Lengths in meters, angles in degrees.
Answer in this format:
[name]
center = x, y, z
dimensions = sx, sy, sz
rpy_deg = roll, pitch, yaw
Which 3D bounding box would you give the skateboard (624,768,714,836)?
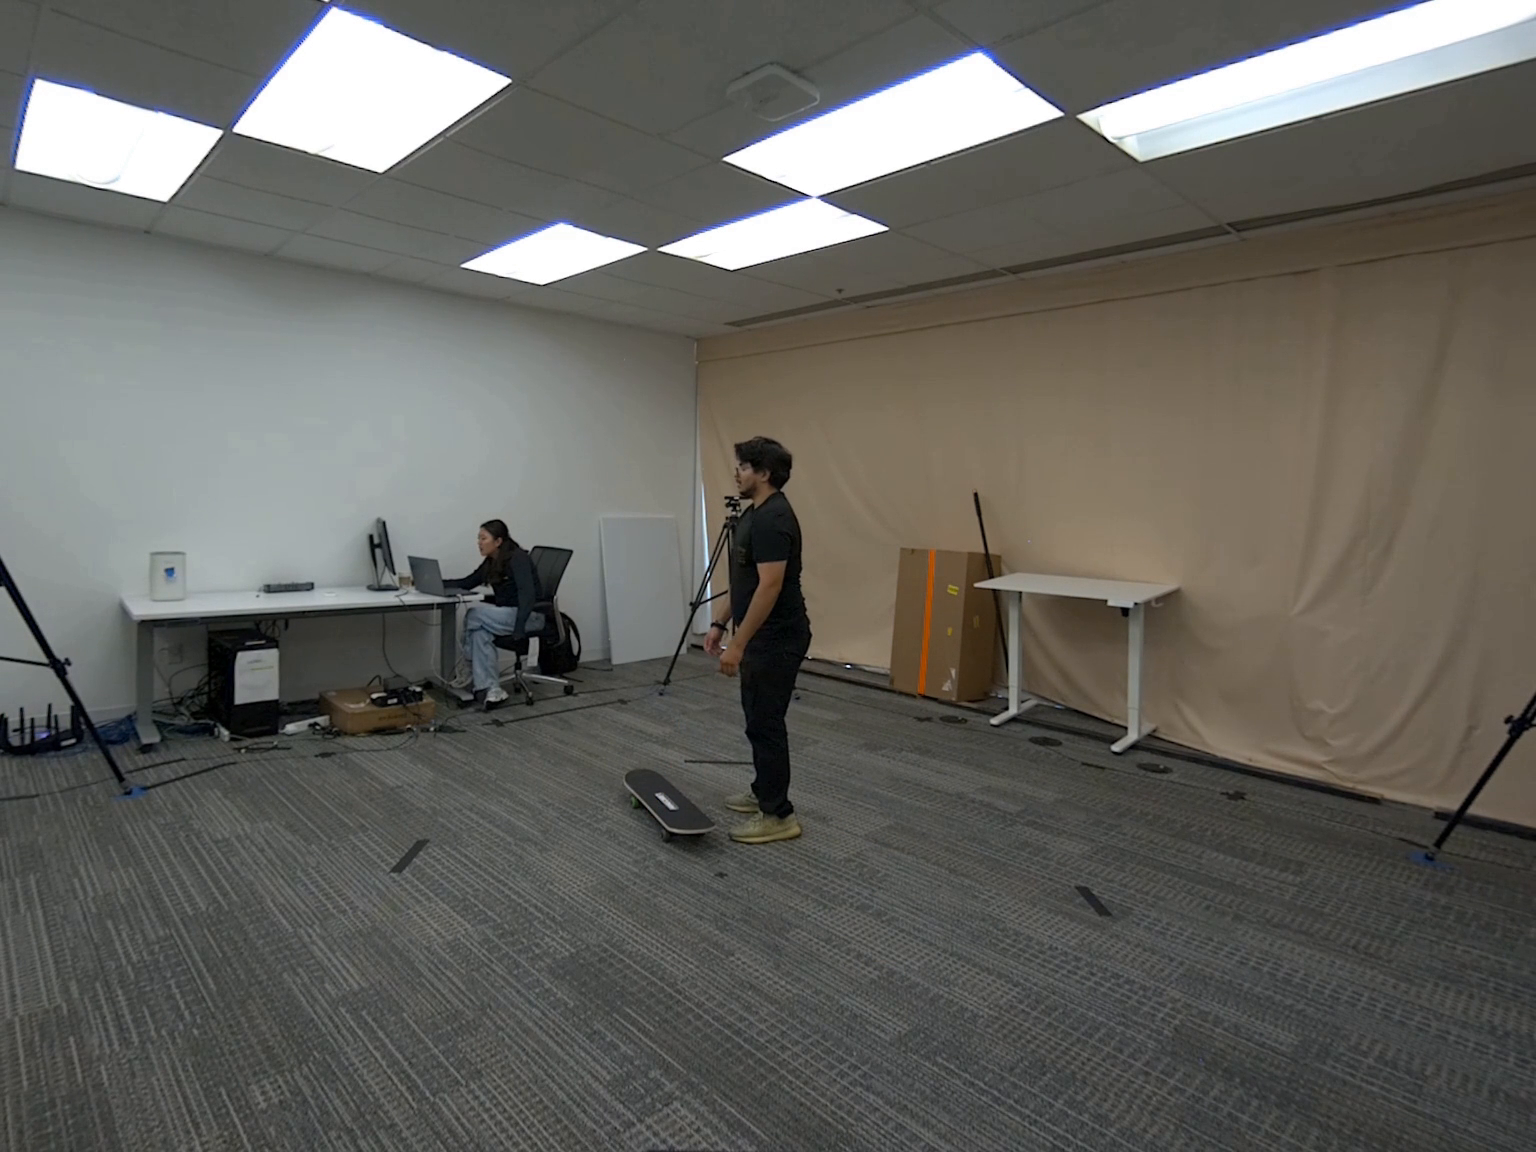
[skateboard]
center = -0.443, 0.992, 3.607
dimensions = 0.190, 0.110, 0.802
rpy_deg = -2, 6, -26
